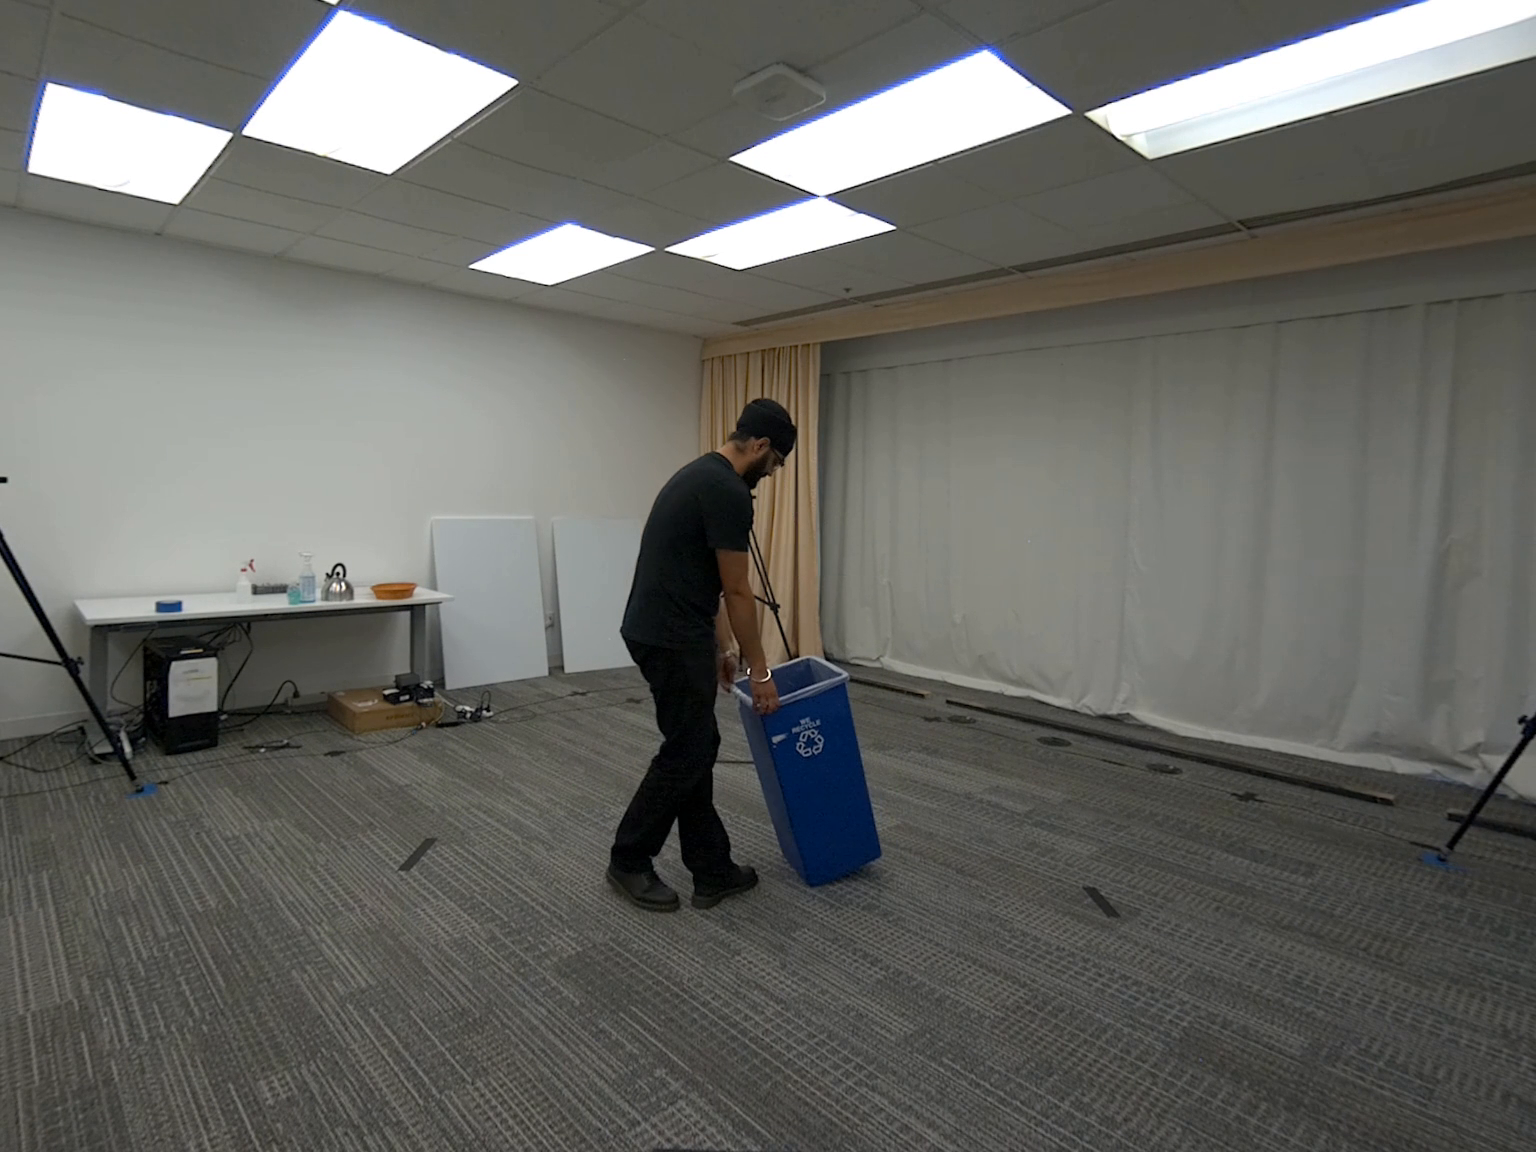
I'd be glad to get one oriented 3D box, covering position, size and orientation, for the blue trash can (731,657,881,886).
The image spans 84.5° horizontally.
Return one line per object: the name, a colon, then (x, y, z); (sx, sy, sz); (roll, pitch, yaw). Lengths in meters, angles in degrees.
blue trash can: (0.140, 0.720, 3.132); (0.371, 0.708, 0.384); (-17, 8, -17)
